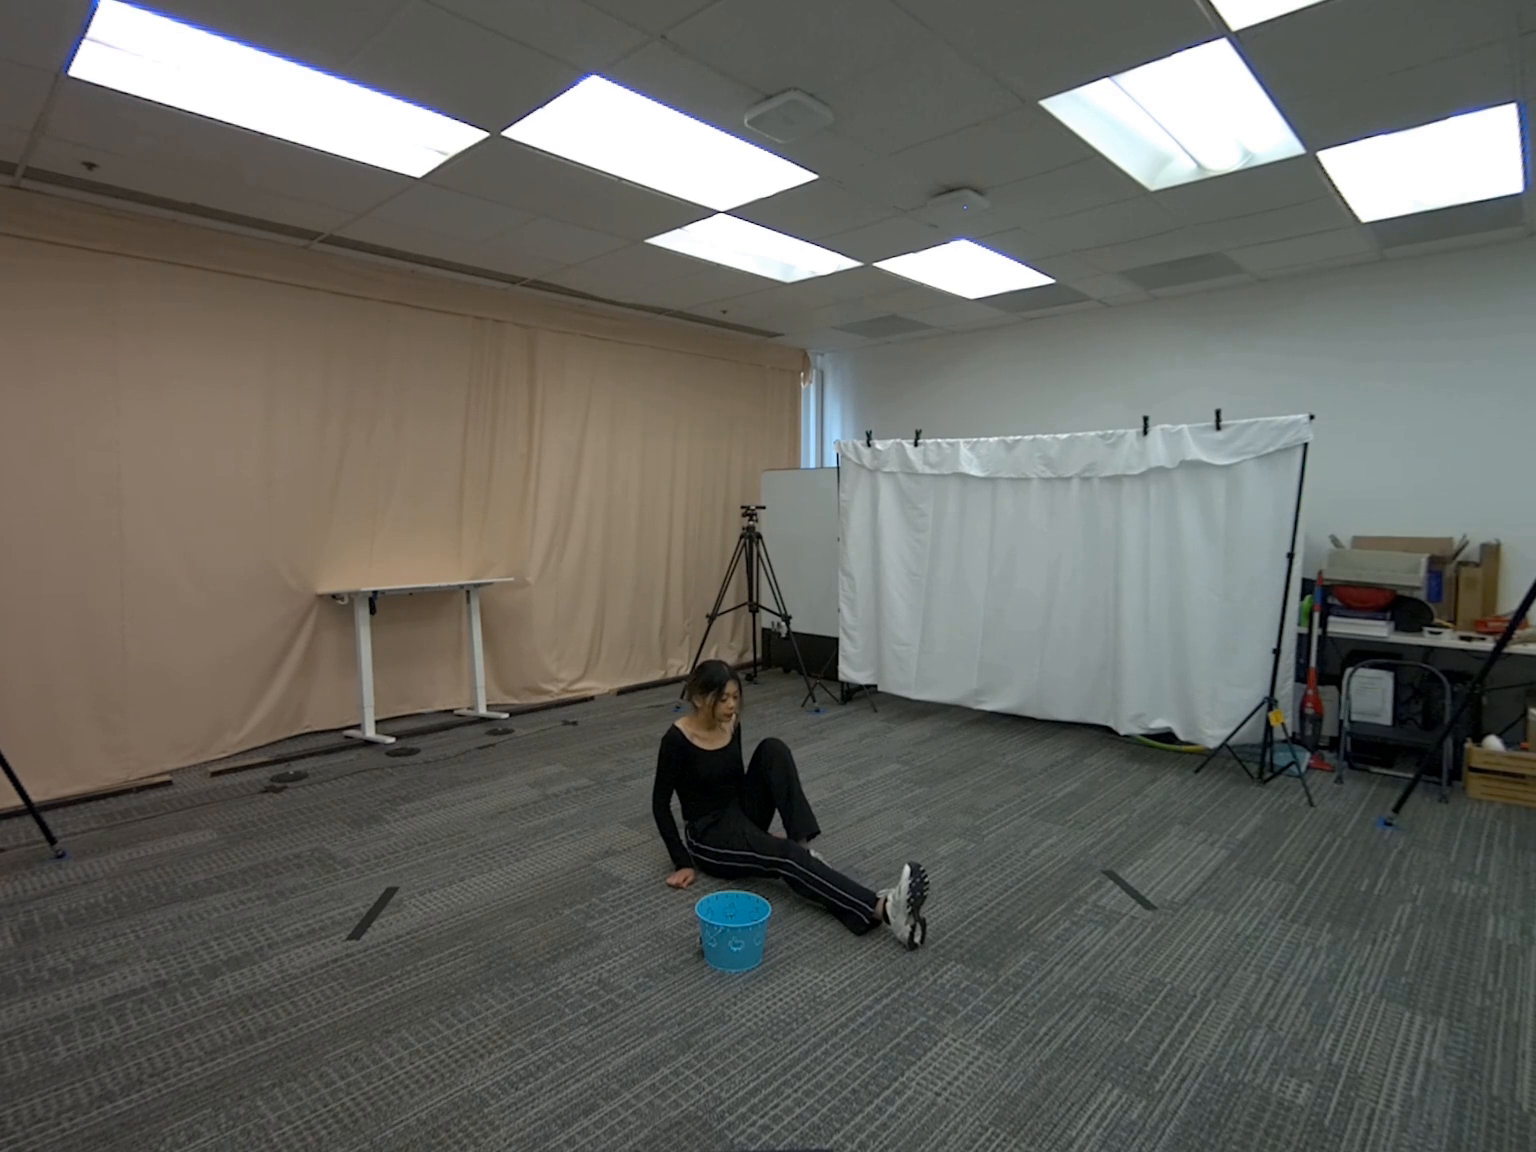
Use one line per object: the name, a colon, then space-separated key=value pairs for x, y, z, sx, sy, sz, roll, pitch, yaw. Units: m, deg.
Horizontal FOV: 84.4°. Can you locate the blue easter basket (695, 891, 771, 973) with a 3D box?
blue easter basket: x=-0.108 y=1.085 z=2.607 sx=0.243 sy=0.155 sz=0.244 roll=-1 pitch=4 yaw=-2
